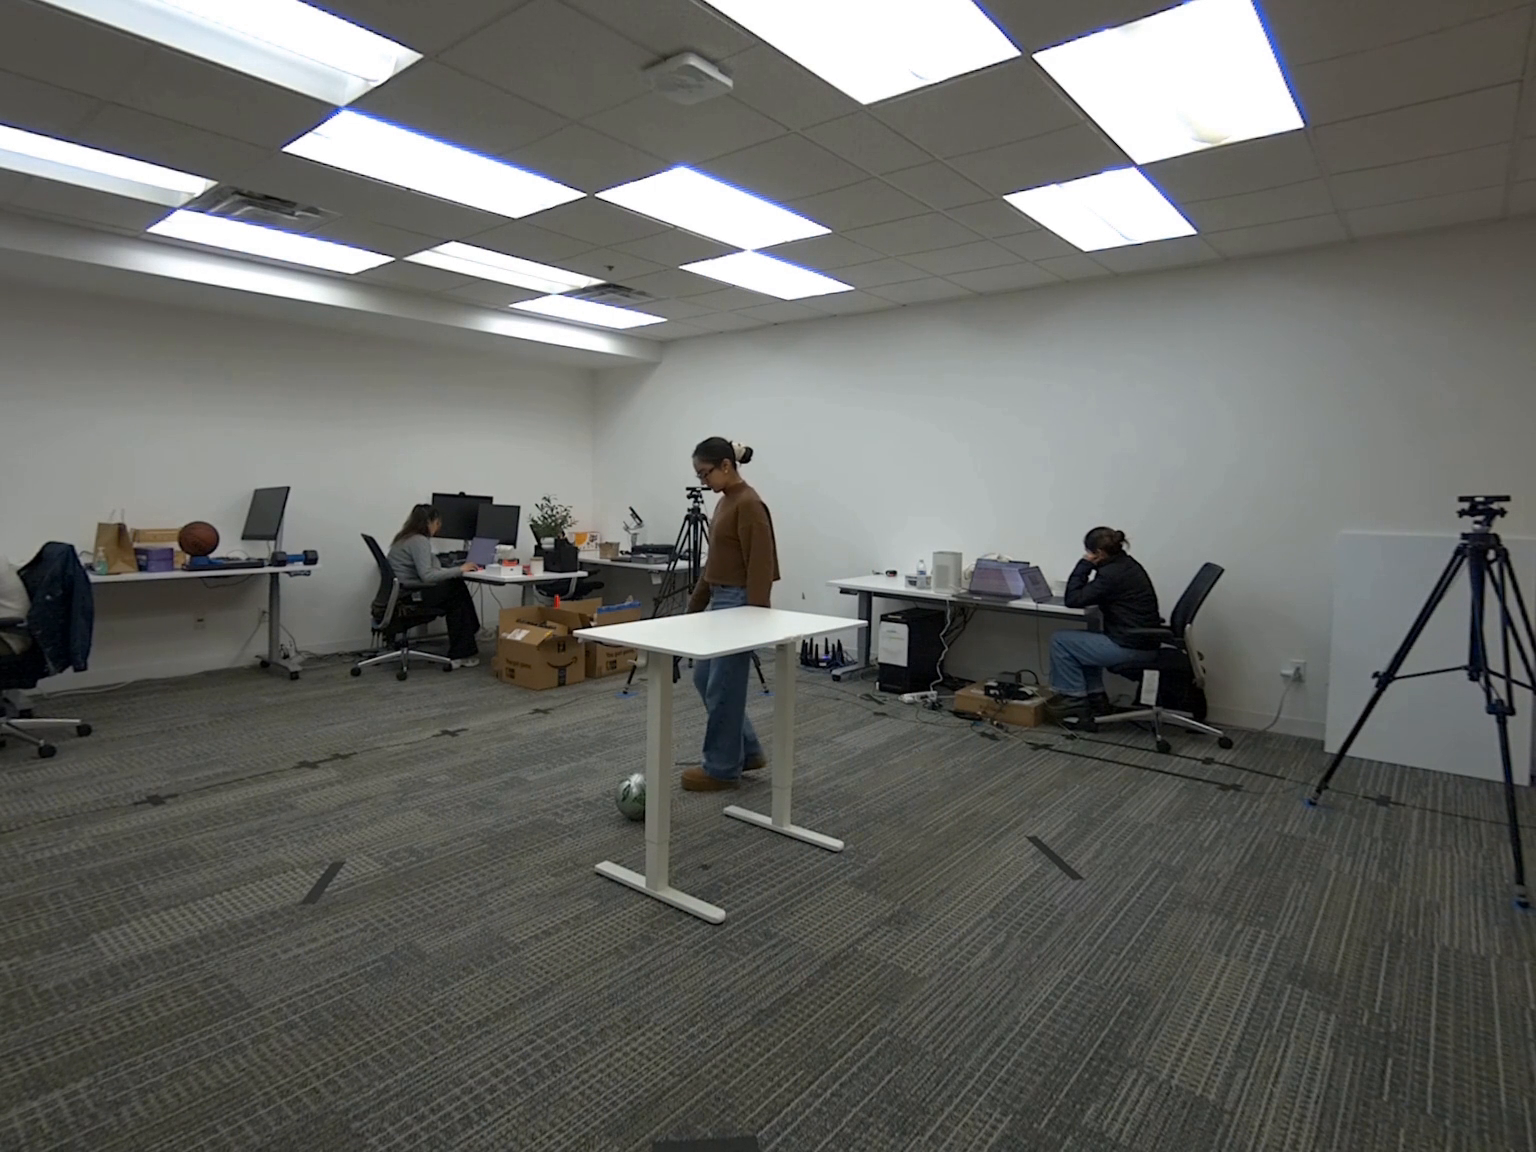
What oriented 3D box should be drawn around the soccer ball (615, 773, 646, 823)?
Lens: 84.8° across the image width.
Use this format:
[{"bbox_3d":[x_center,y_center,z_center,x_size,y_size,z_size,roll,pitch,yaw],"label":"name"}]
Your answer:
[{"bbox_3d":[-0.565,0.920,3.572,0.187,0.187,0.188,1,4,-2],"label":"soccer ball"}]
